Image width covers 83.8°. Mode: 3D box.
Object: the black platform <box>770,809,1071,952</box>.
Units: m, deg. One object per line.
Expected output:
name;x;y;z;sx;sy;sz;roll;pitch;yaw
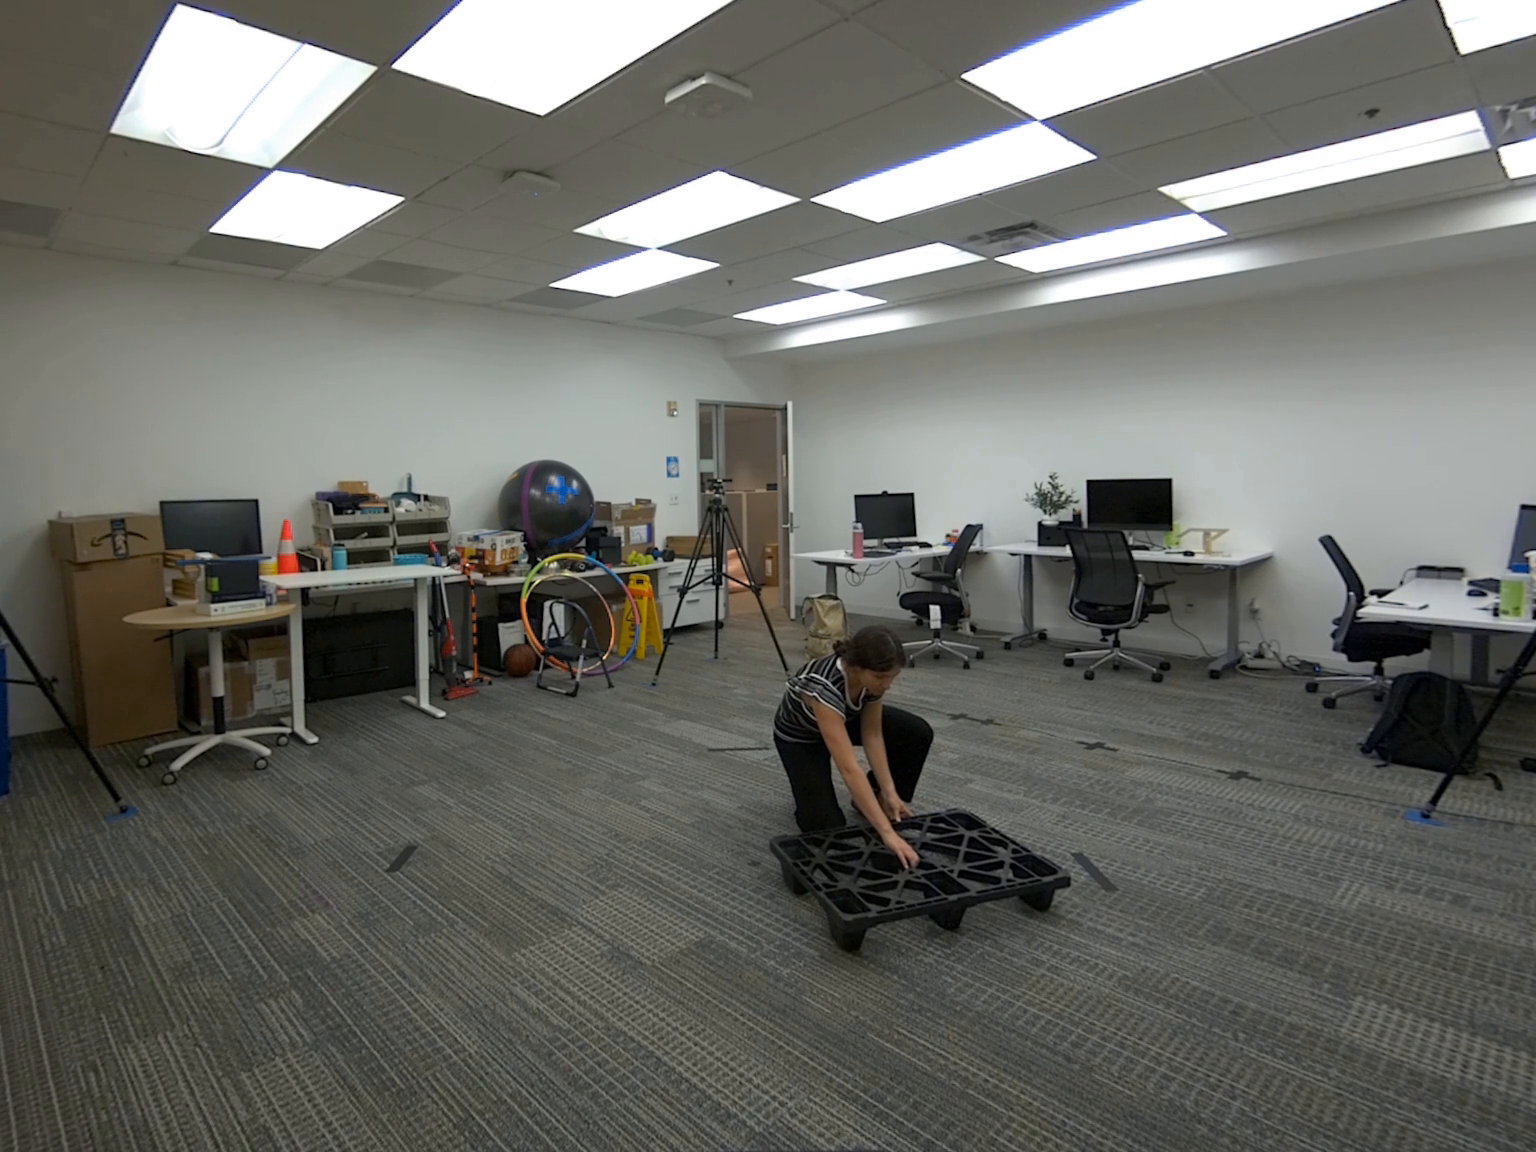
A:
black platform;0.485;1.001;2.845;0.792;0.142;0.618;-4;8;-19
